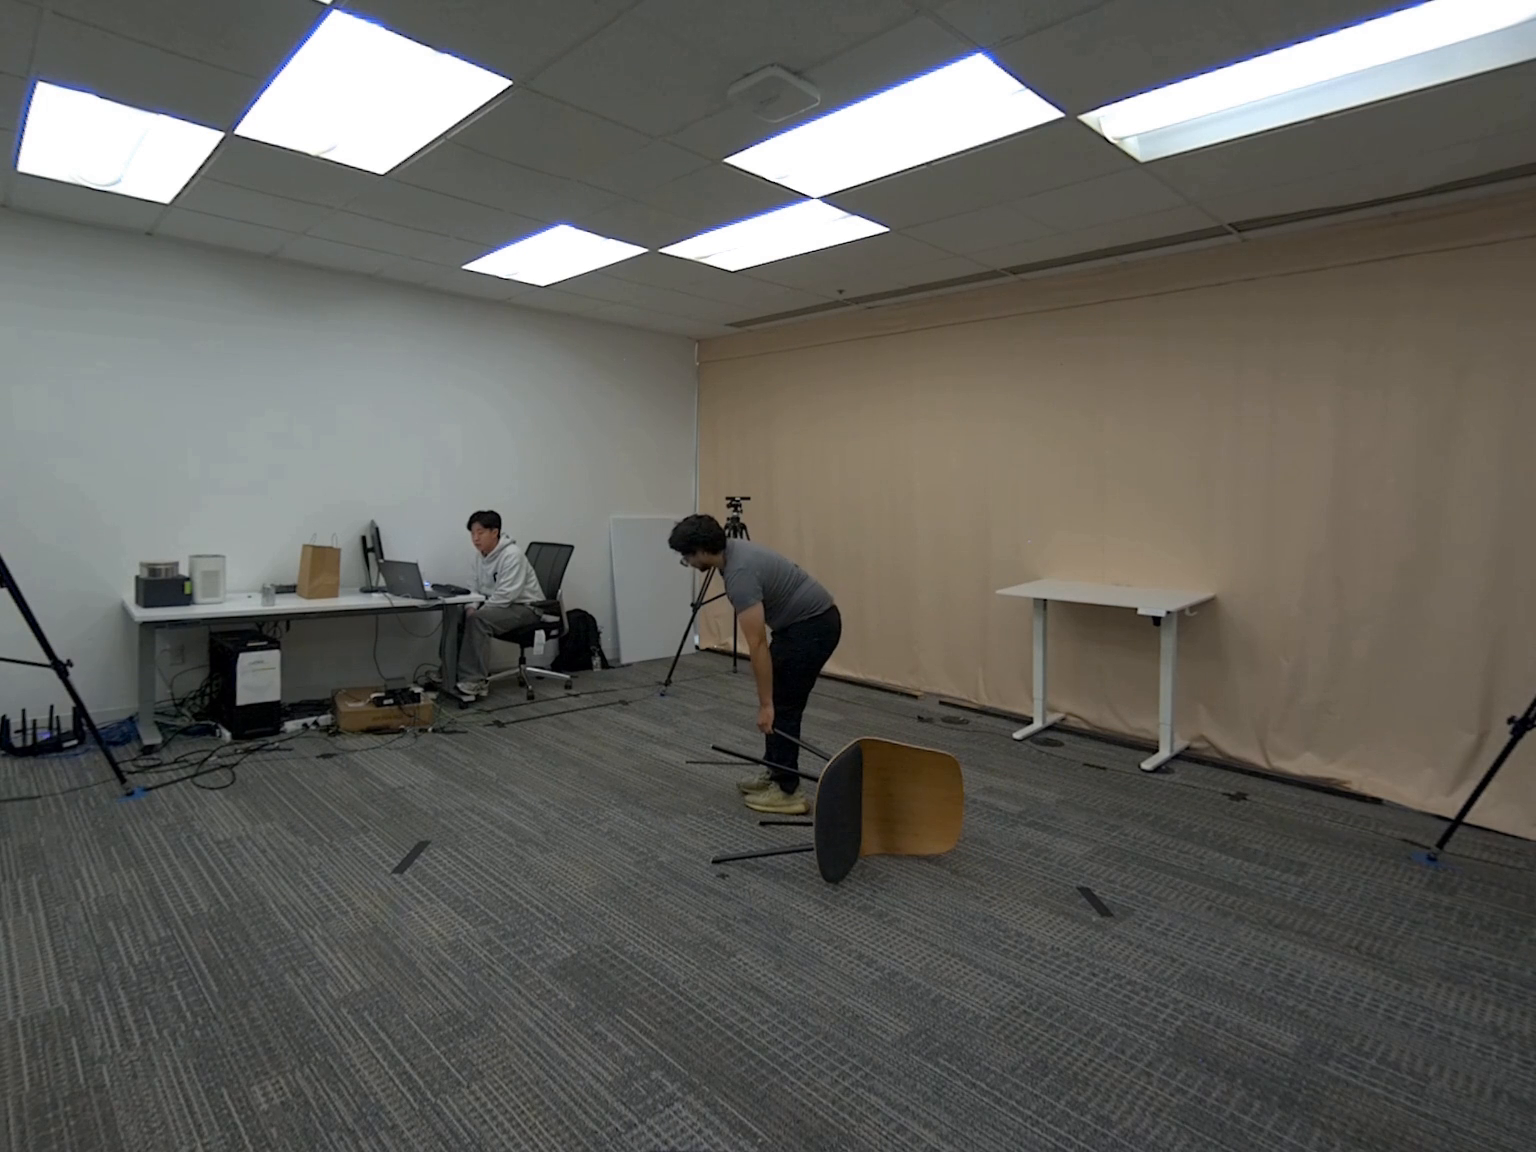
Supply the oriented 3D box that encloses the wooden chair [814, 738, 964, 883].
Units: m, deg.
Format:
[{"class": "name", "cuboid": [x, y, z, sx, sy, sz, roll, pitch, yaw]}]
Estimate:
[{"class": "wooden chair", "cuboid": [0.262, 0.873, 3.204, 0.892, 0.477, 0.515, 3, 3, 21]}]
